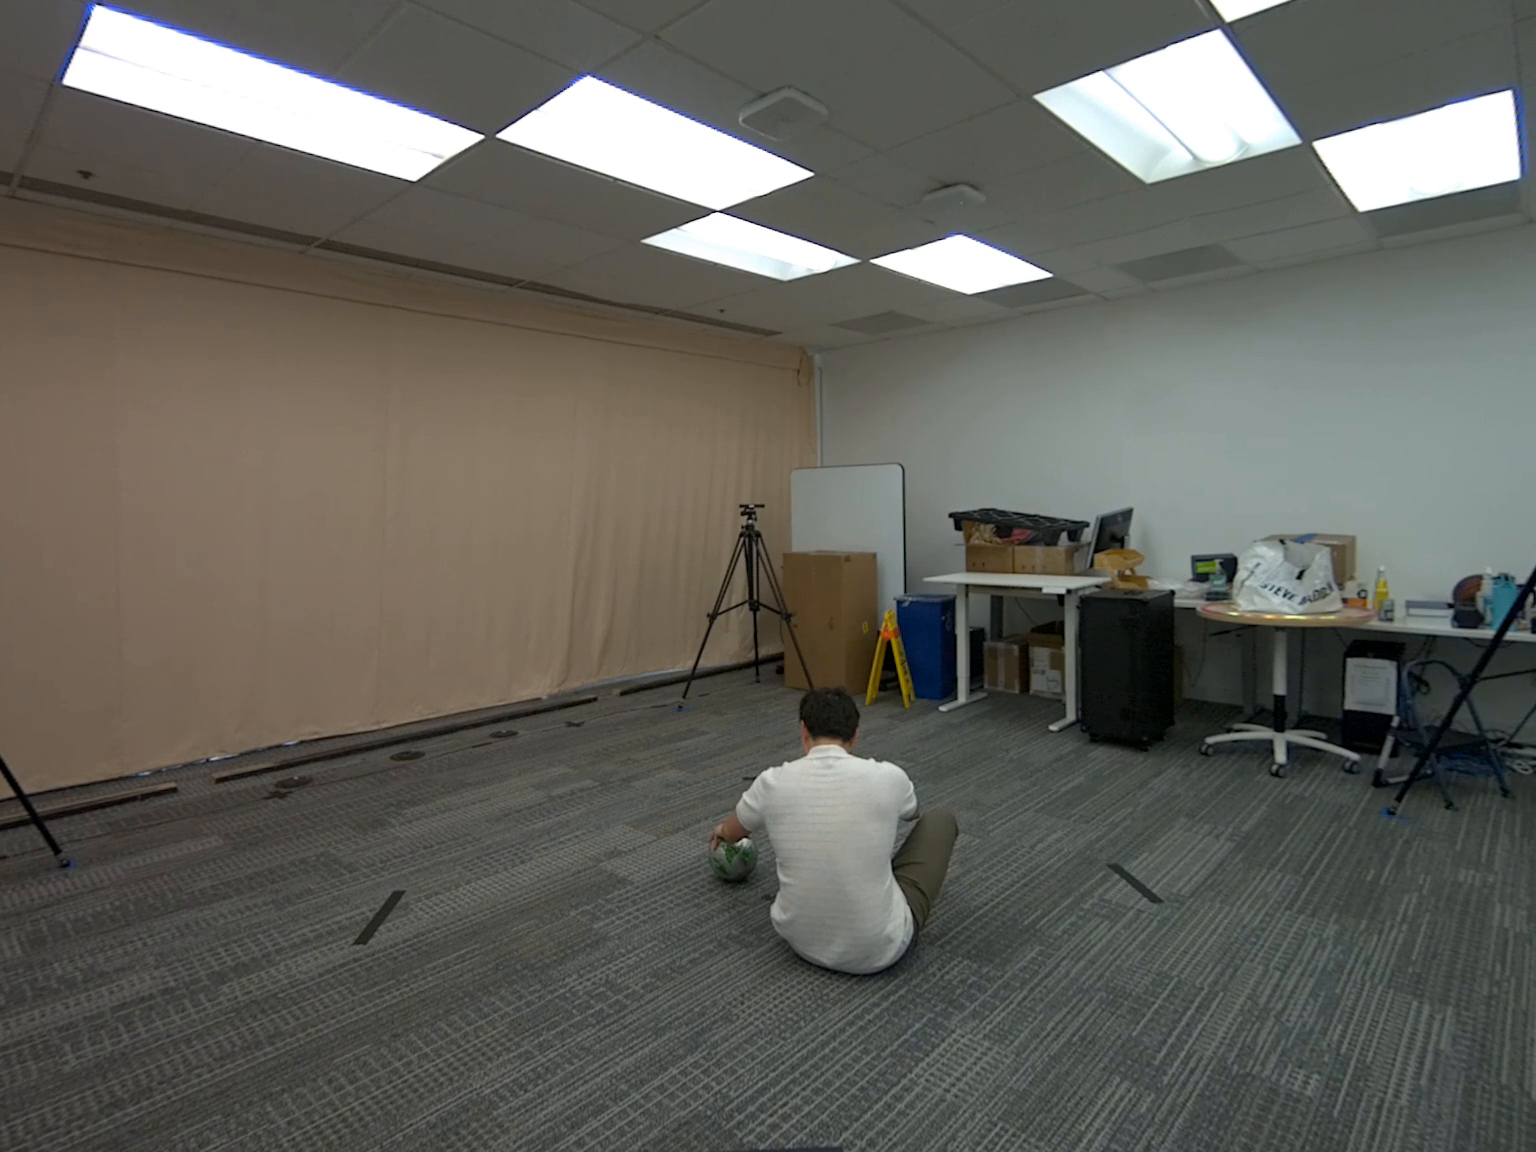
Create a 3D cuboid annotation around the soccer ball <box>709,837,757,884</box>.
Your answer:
[{"bbox_3d":[-0.126,1.033,3.137,0.187,0.187,0.188,-1,4,-2],"label":"soccer ball"}]
